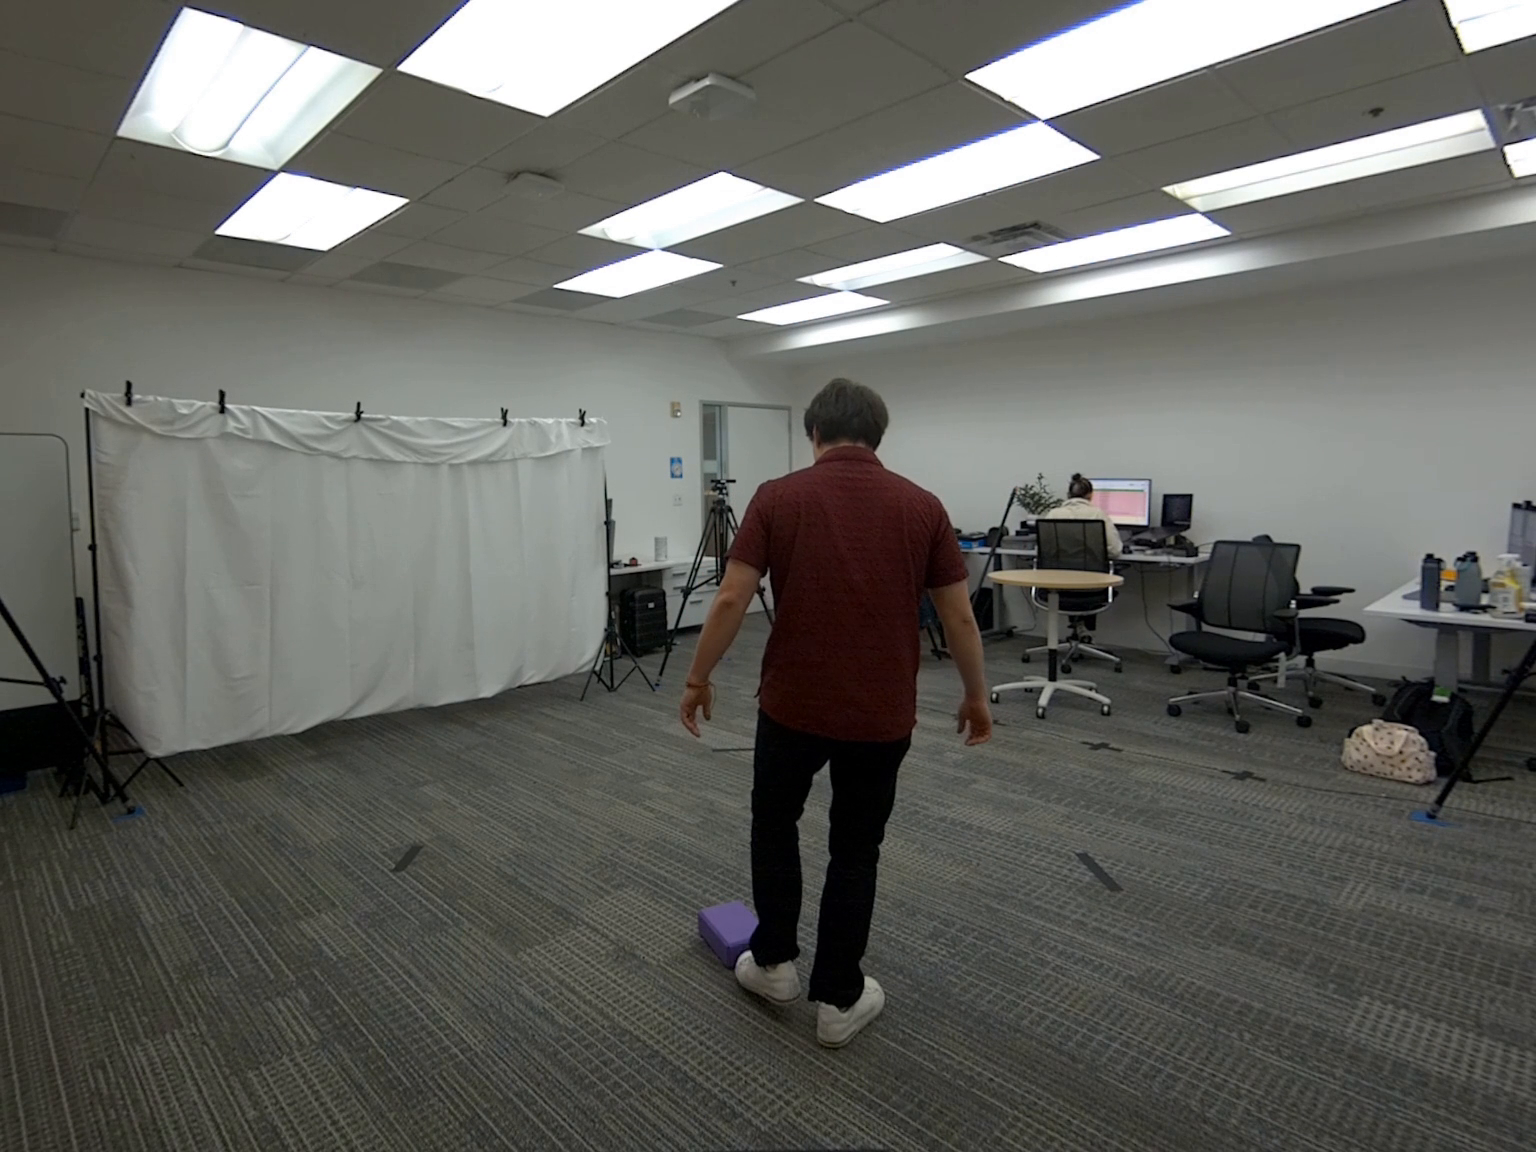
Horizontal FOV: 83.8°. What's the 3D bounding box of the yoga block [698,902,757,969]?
[{"bbox_3d":[-0.096,1.069,2.565,0.146,0.076,0.235,-4,7,-26],"label":"yoga block"}]
